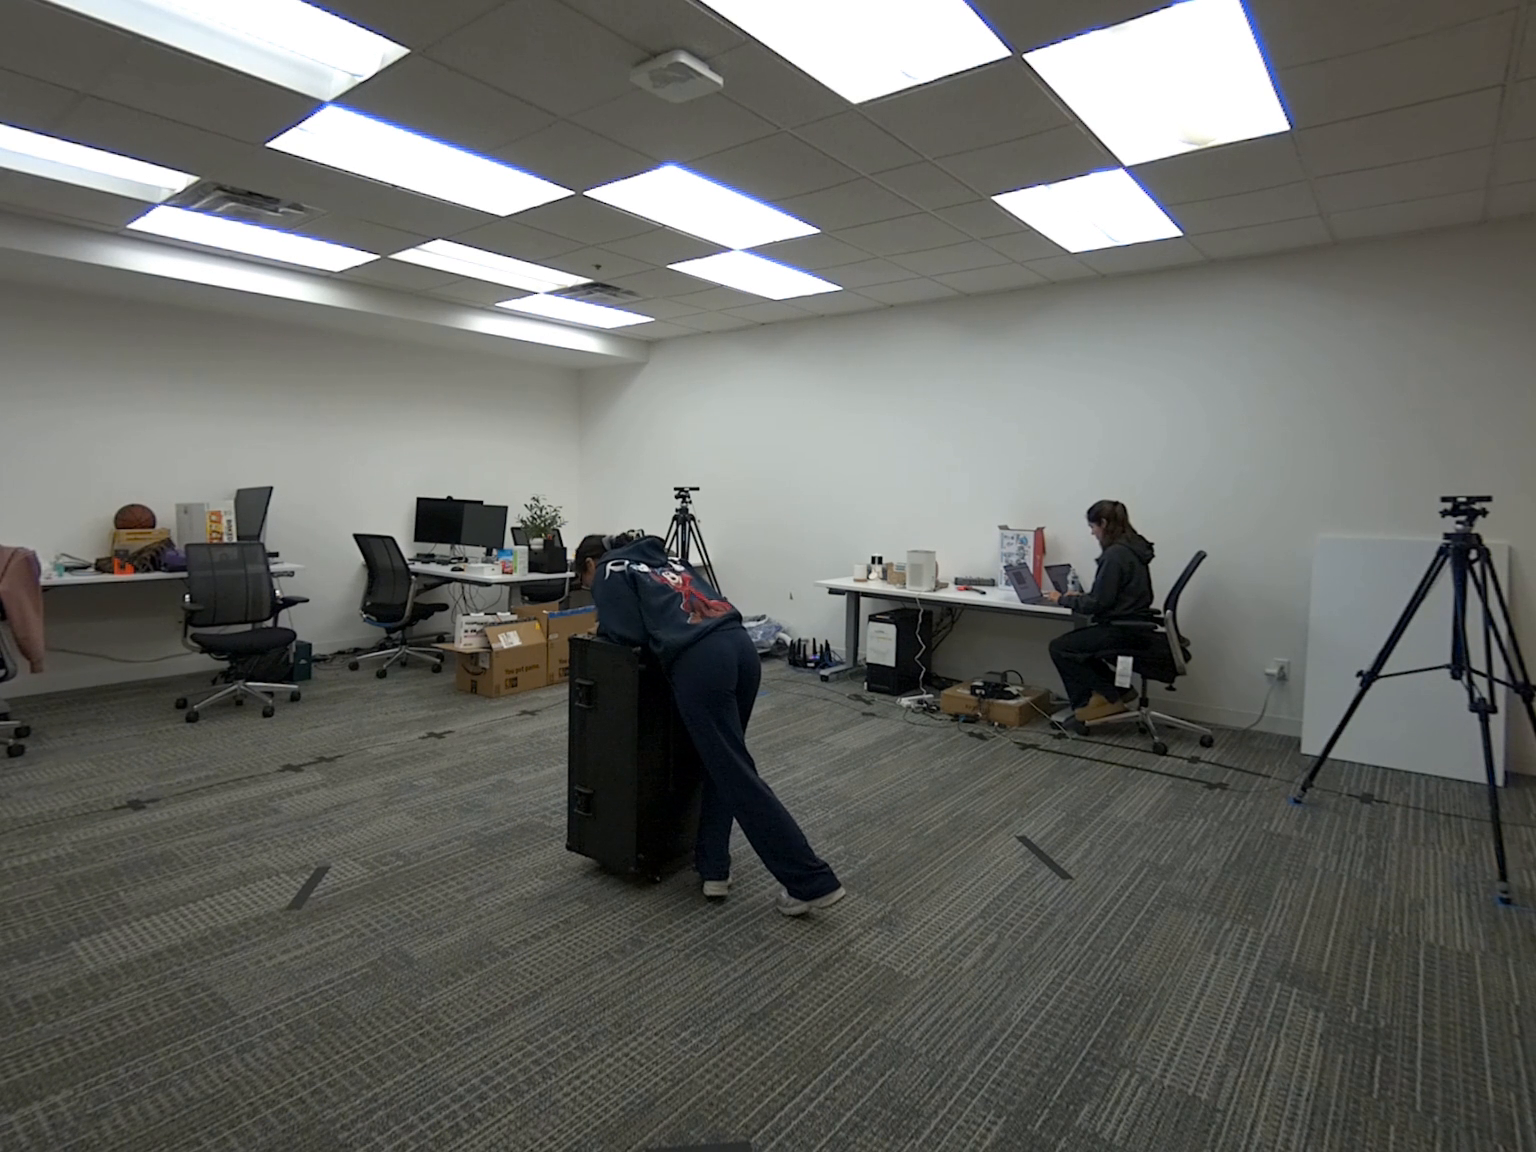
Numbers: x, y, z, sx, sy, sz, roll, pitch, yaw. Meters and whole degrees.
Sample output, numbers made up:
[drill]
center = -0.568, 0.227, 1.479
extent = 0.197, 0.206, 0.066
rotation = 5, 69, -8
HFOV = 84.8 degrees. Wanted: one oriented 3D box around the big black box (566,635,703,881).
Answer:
[big black box]
center = -0.447, 0.637, 3.146
extent = 0.409, 0.859, 0.506
rotation = 4, 3, 37
